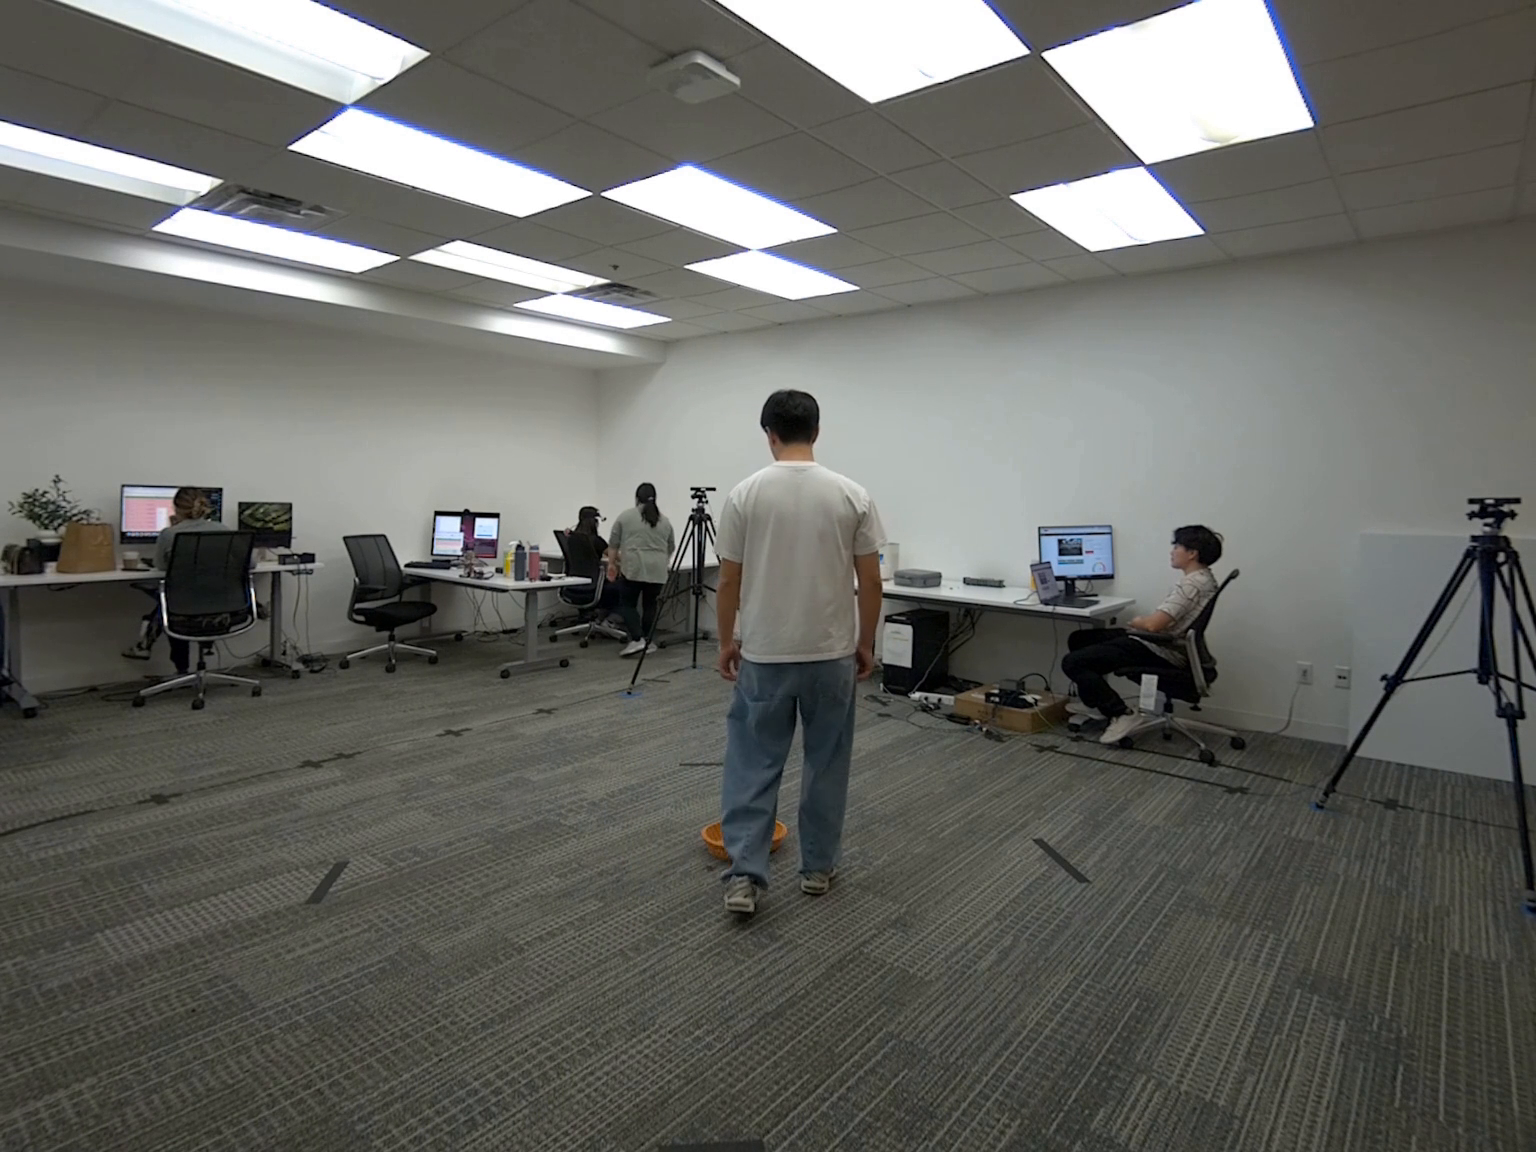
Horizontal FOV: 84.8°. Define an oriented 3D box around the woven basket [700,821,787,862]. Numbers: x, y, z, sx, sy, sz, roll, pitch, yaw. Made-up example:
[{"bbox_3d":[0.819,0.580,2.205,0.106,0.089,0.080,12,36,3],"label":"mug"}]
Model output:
[{"bbox_3d":[-0.105,1.012,3.287,0.341,0.073,0.260,-2,6,-30],"label":"woven basket"}]
